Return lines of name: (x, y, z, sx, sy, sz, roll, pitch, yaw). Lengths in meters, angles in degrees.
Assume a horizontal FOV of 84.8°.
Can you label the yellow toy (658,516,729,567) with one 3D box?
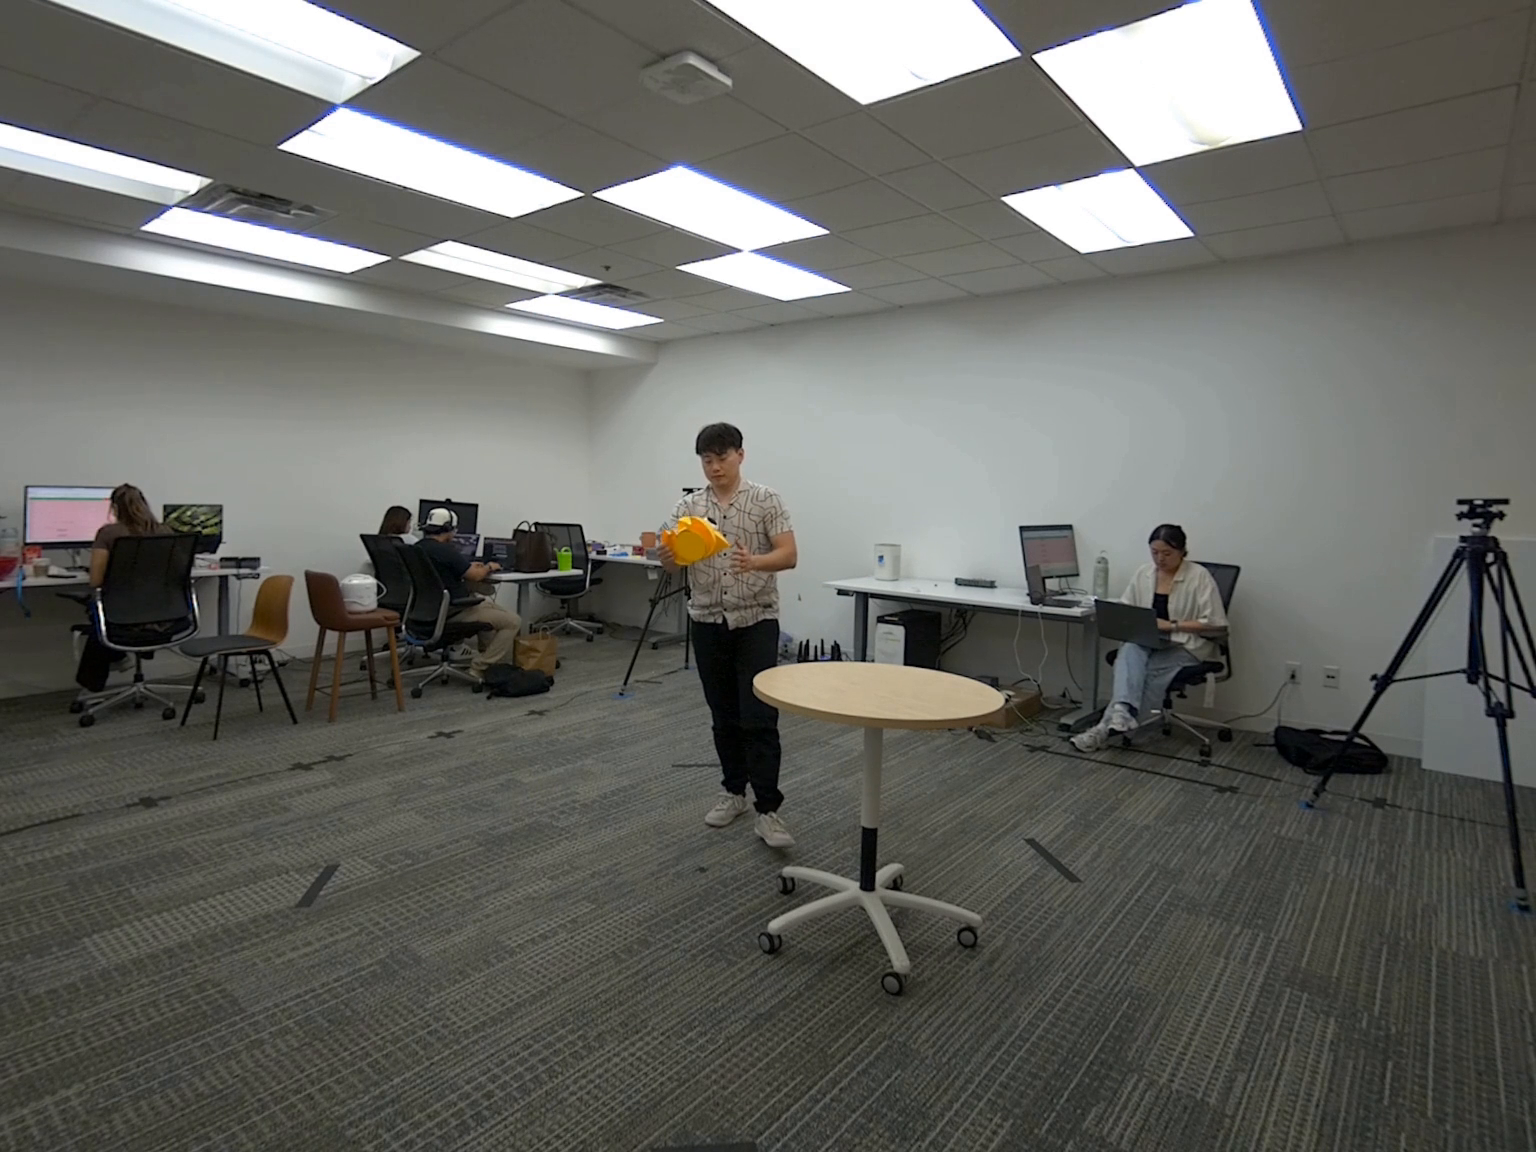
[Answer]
yellow toy: (-0.271, -0.169, 3.223, 0.207, 0.189, 0.232, -23, 17, 25)
